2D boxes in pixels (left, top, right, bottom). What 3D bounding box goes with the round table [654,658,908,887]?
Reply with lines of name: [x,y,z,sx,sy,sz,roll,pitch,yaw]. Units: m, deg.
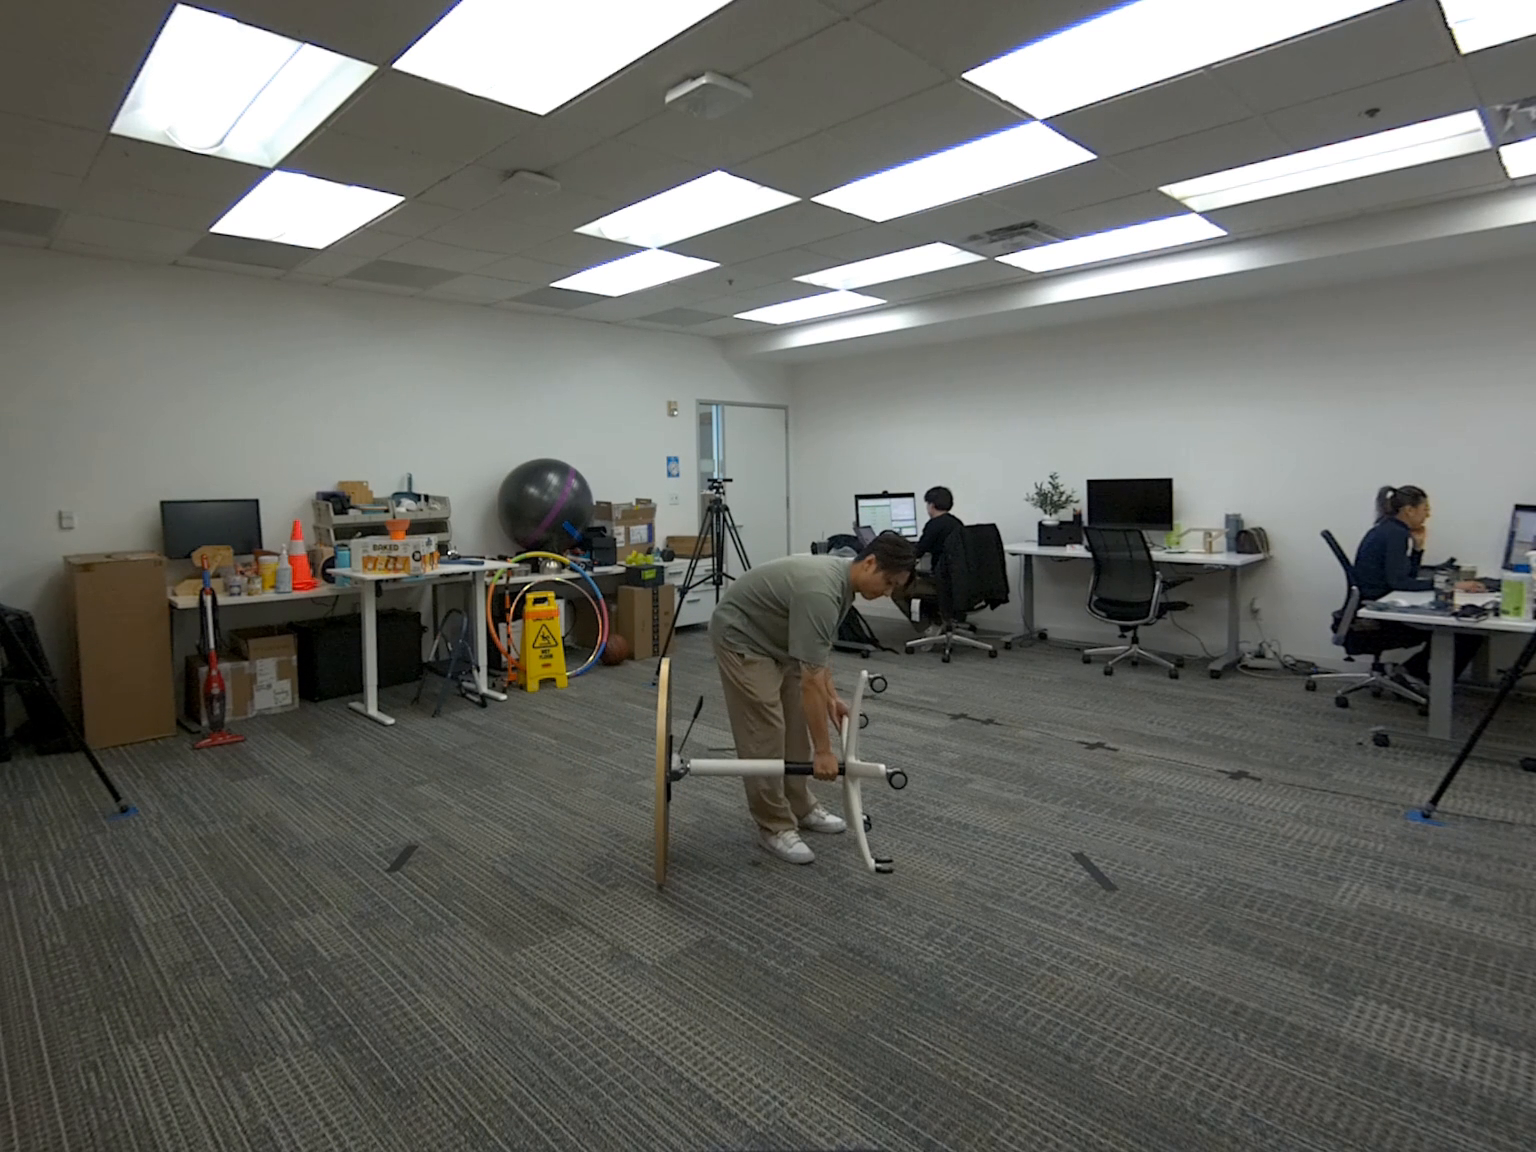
round table: [0.022,0.676,3.021,0.784,0.782,0.790,1,5,-4]
